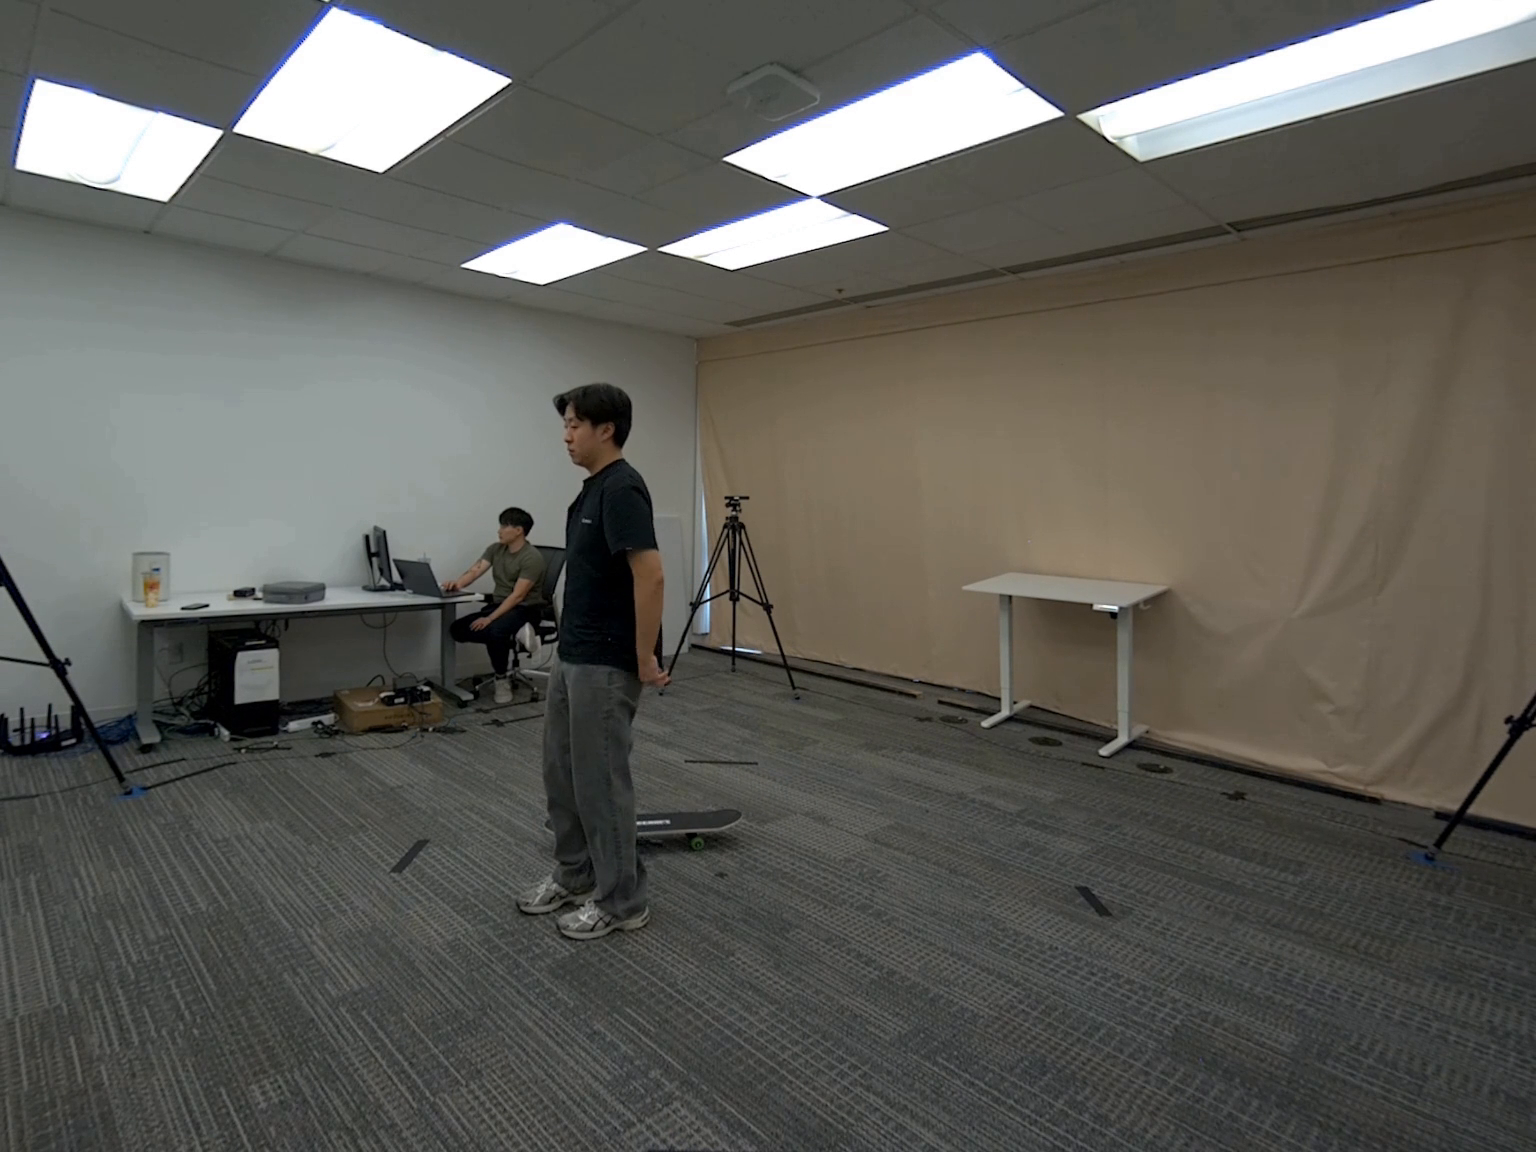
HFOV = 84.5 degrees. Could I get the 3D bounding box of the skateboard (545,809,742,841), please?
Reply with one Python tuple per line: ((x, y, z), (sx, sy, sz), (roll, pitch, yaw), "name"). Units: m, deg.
((-0.491, 1.012, 3.355), (0.778, 0.110, 0.196), (0, 4, -11), "skateboard")
